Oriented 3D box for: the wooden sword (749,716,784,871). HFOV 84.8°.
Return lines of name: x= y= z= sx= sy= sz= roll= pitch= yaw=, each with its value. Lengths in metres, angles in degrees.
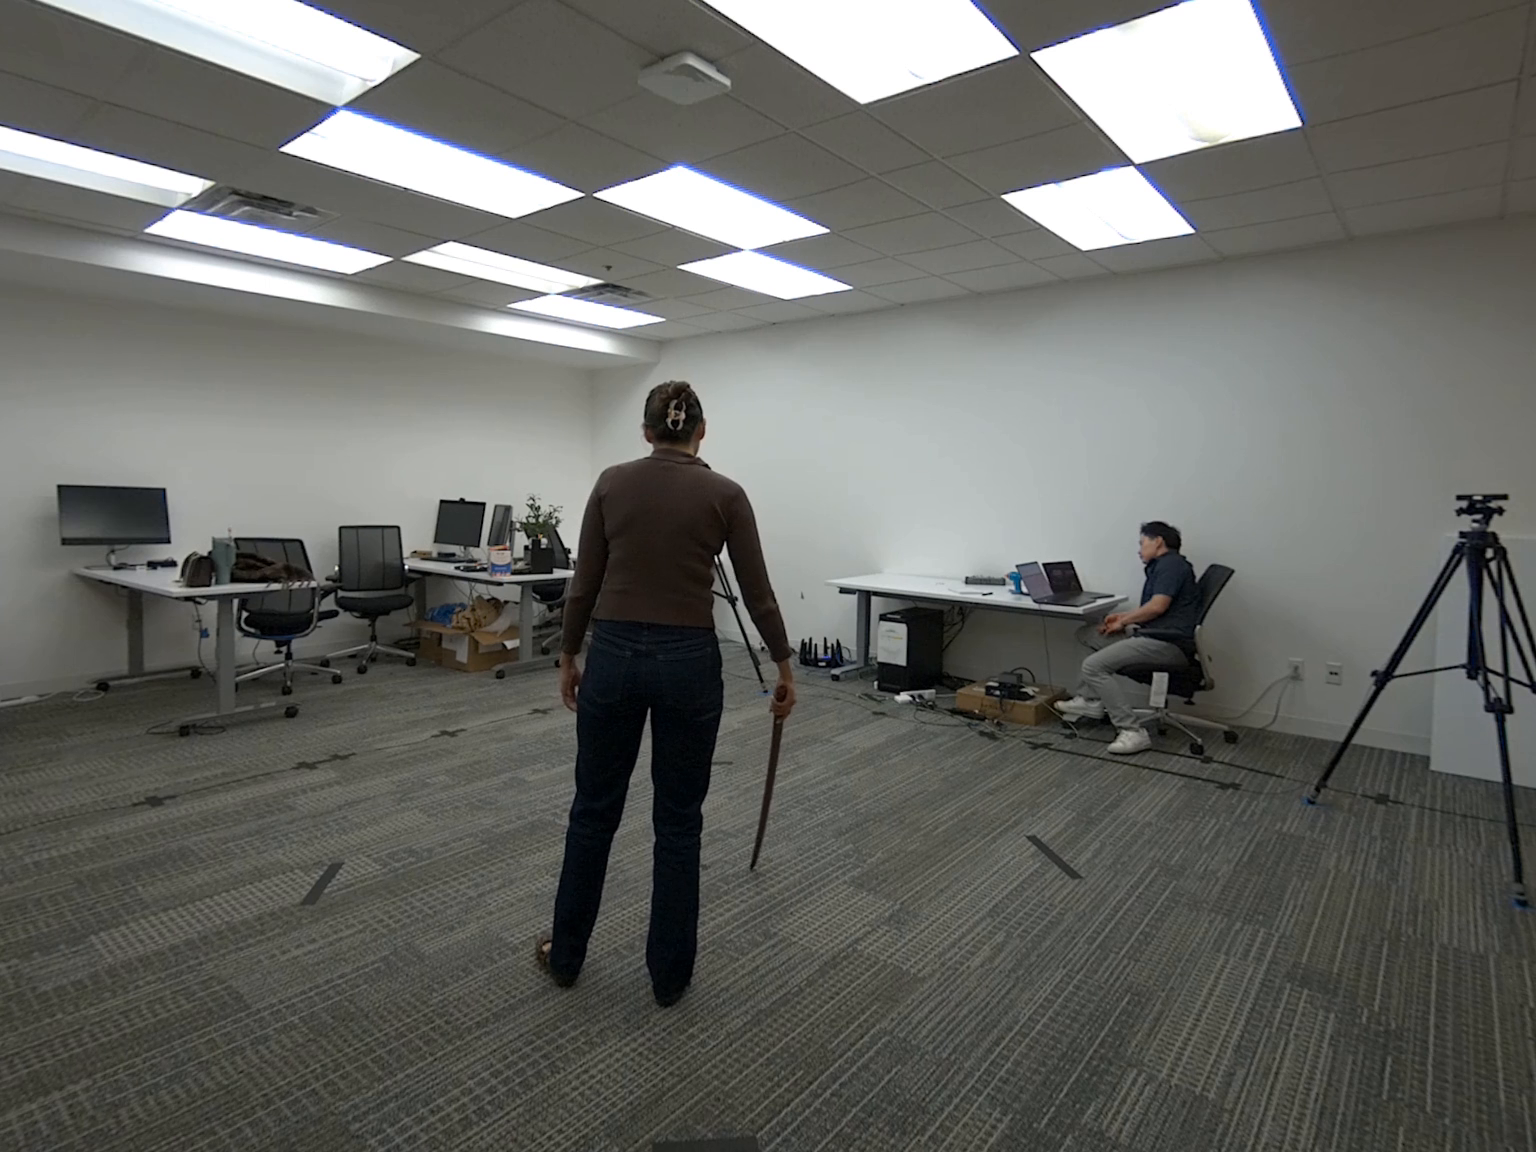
wooden sword: x=-0.021 y=0.688 z=2.786 sx=0.050 sy=0.999 sz=0.025 roll=-30 pitch=53 yaw=-35
